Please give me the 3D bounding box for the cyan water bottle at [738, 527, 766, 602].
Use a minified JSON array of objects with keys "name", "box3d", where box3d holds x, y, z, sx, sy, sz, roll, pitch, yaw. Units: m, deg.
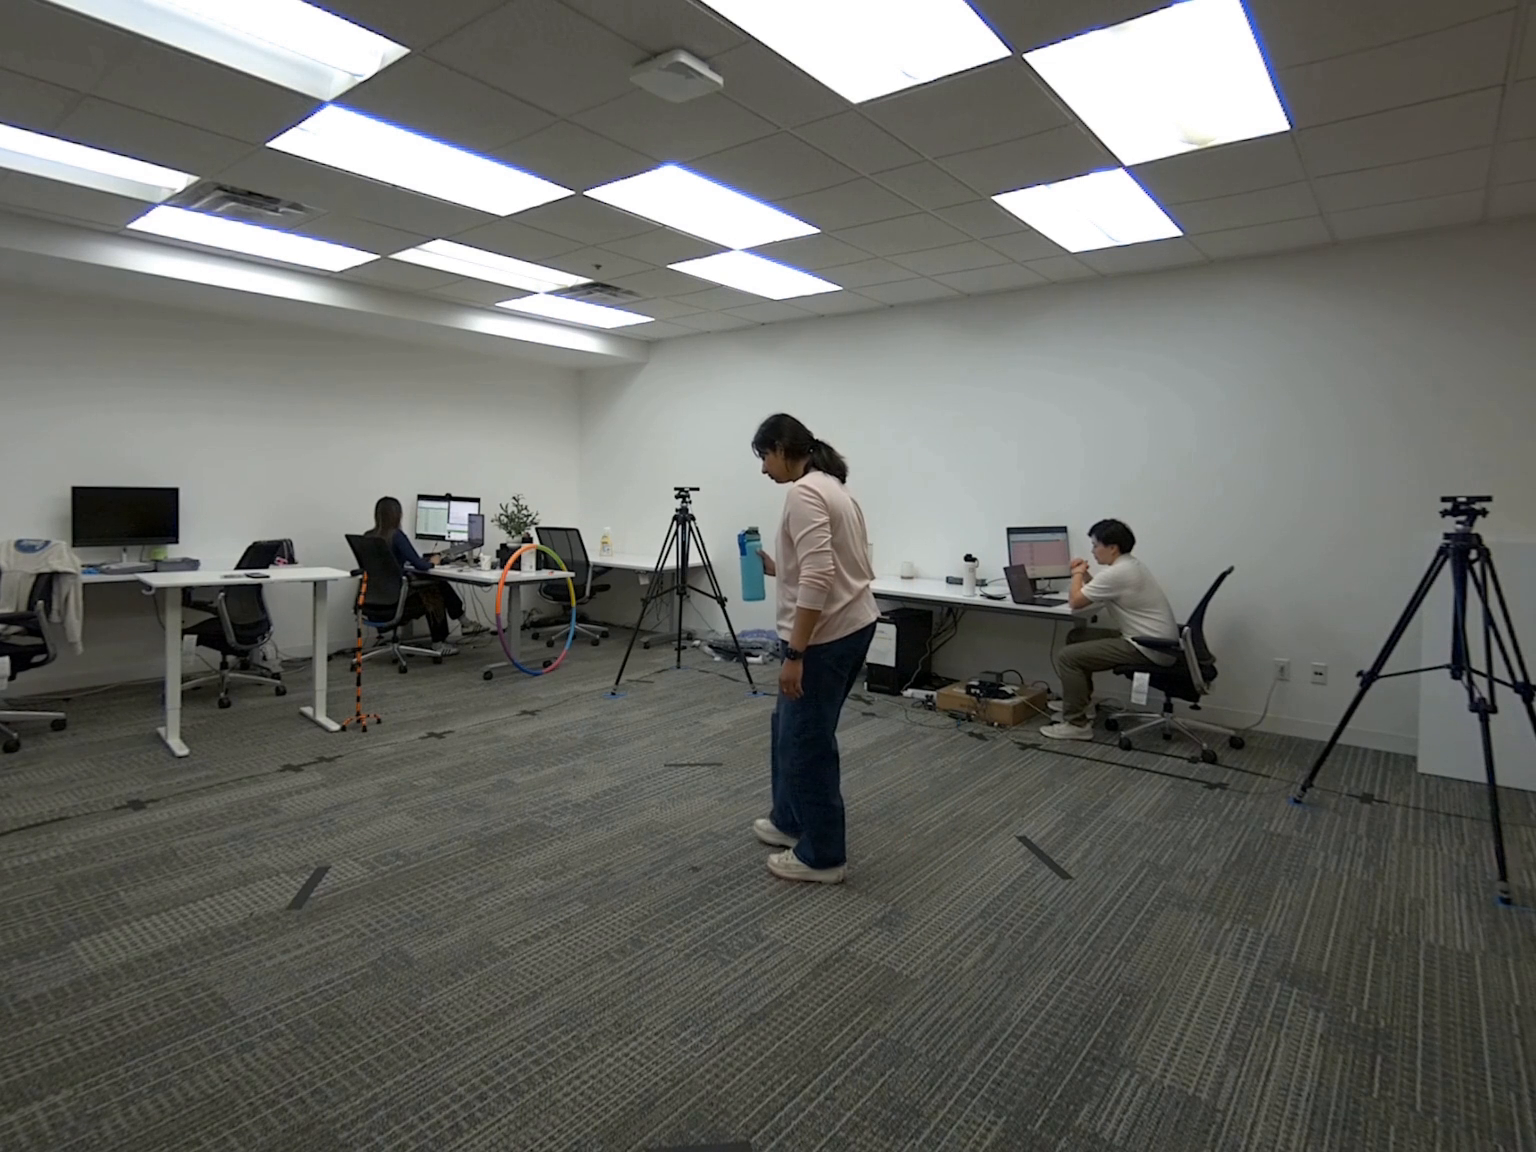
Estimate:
[{"name":"cyan water bottle","box3d":[-0.084,-0.053,3.285,0.092,0.282,0.093,-5,4,-1]}]
